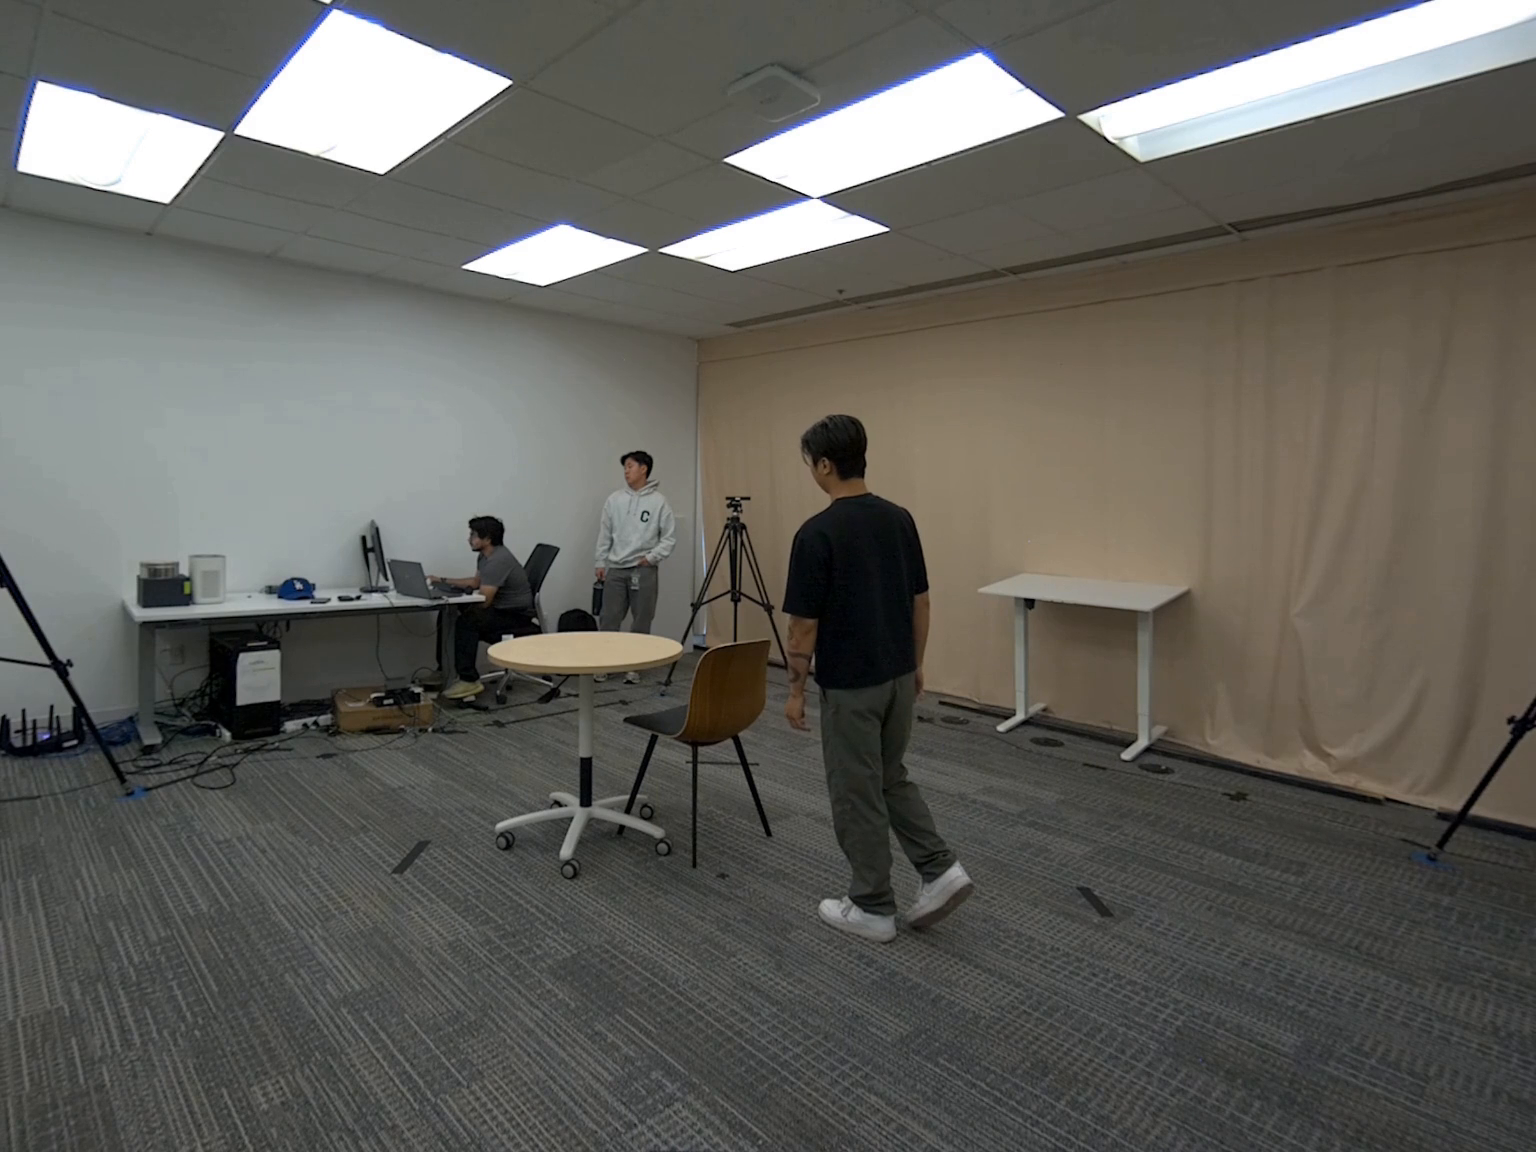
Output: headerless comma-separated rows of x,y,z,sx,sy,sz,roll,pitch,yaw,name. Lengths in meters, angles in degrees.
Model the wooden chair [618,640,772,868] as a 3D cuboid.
-0.302,0.643,3.443,0.537,0.874,0.467,11,8,41,wooden chair
